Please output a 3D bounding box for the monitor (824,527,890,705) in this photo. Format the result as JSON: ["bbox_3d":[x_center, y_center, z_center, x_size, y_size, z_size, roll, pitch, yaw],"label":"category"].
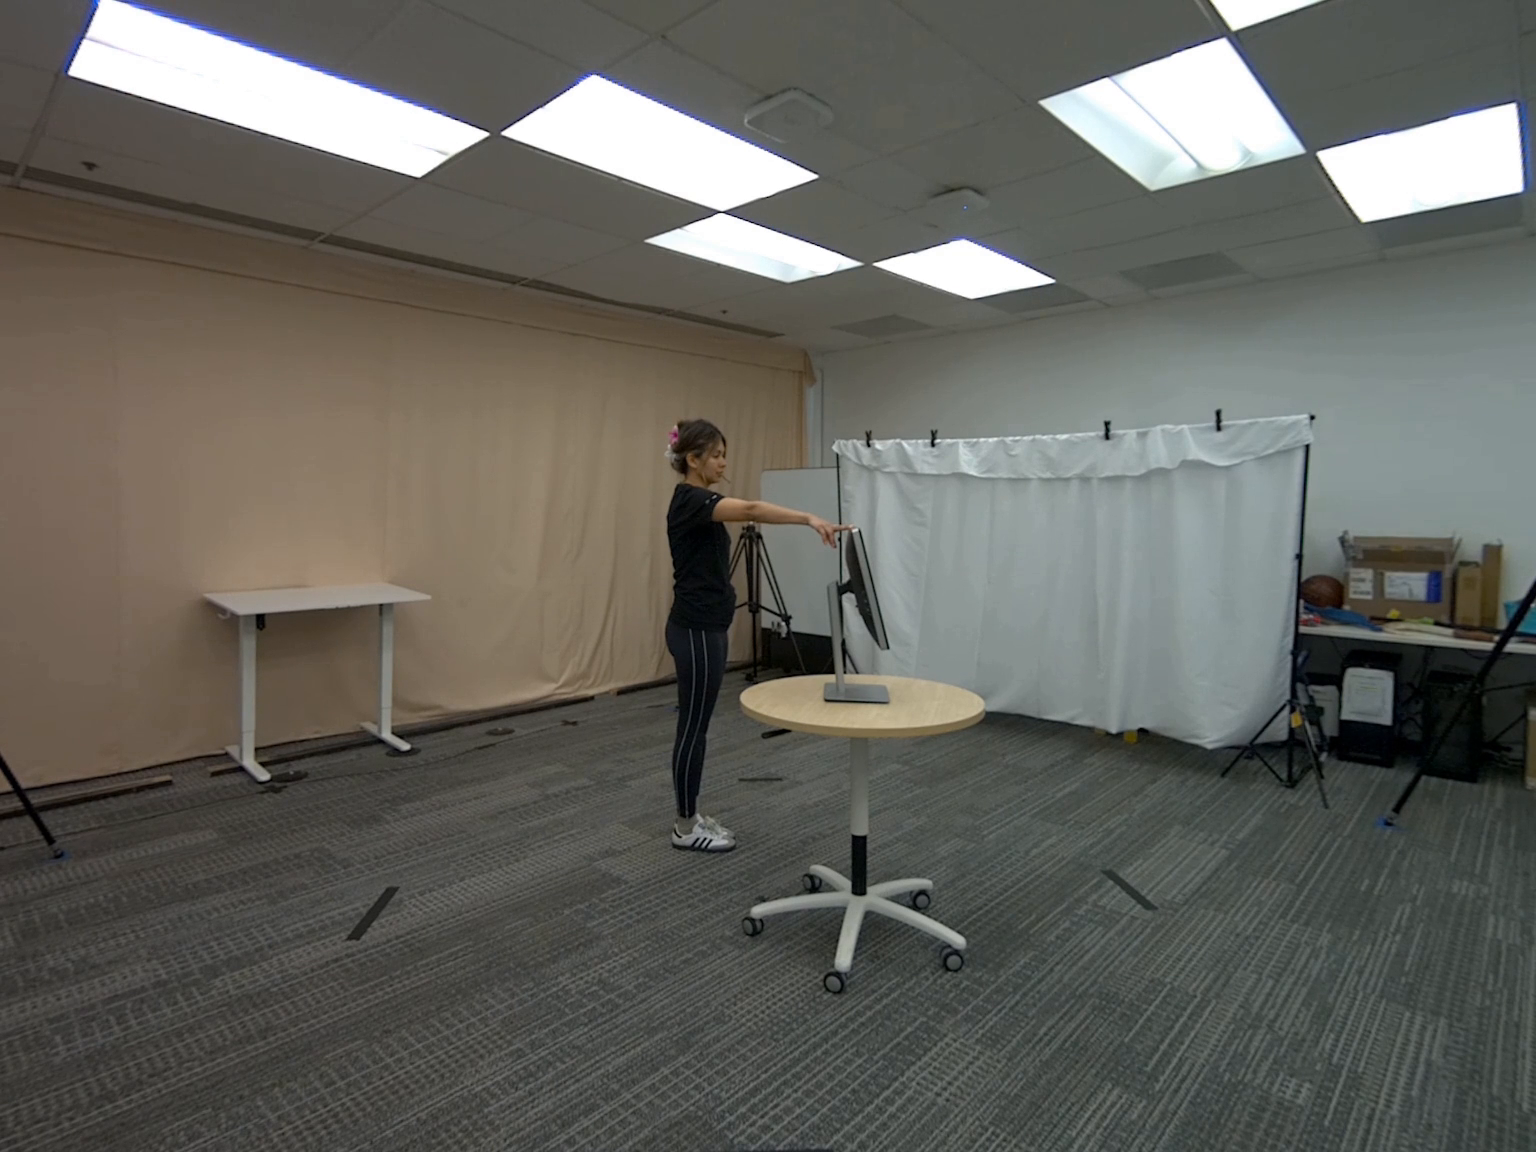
[{"bbox_3d":[0.283,0.124,2.724,0.188,0.522,0.537,0,3,3],"label":"monitor"}]
